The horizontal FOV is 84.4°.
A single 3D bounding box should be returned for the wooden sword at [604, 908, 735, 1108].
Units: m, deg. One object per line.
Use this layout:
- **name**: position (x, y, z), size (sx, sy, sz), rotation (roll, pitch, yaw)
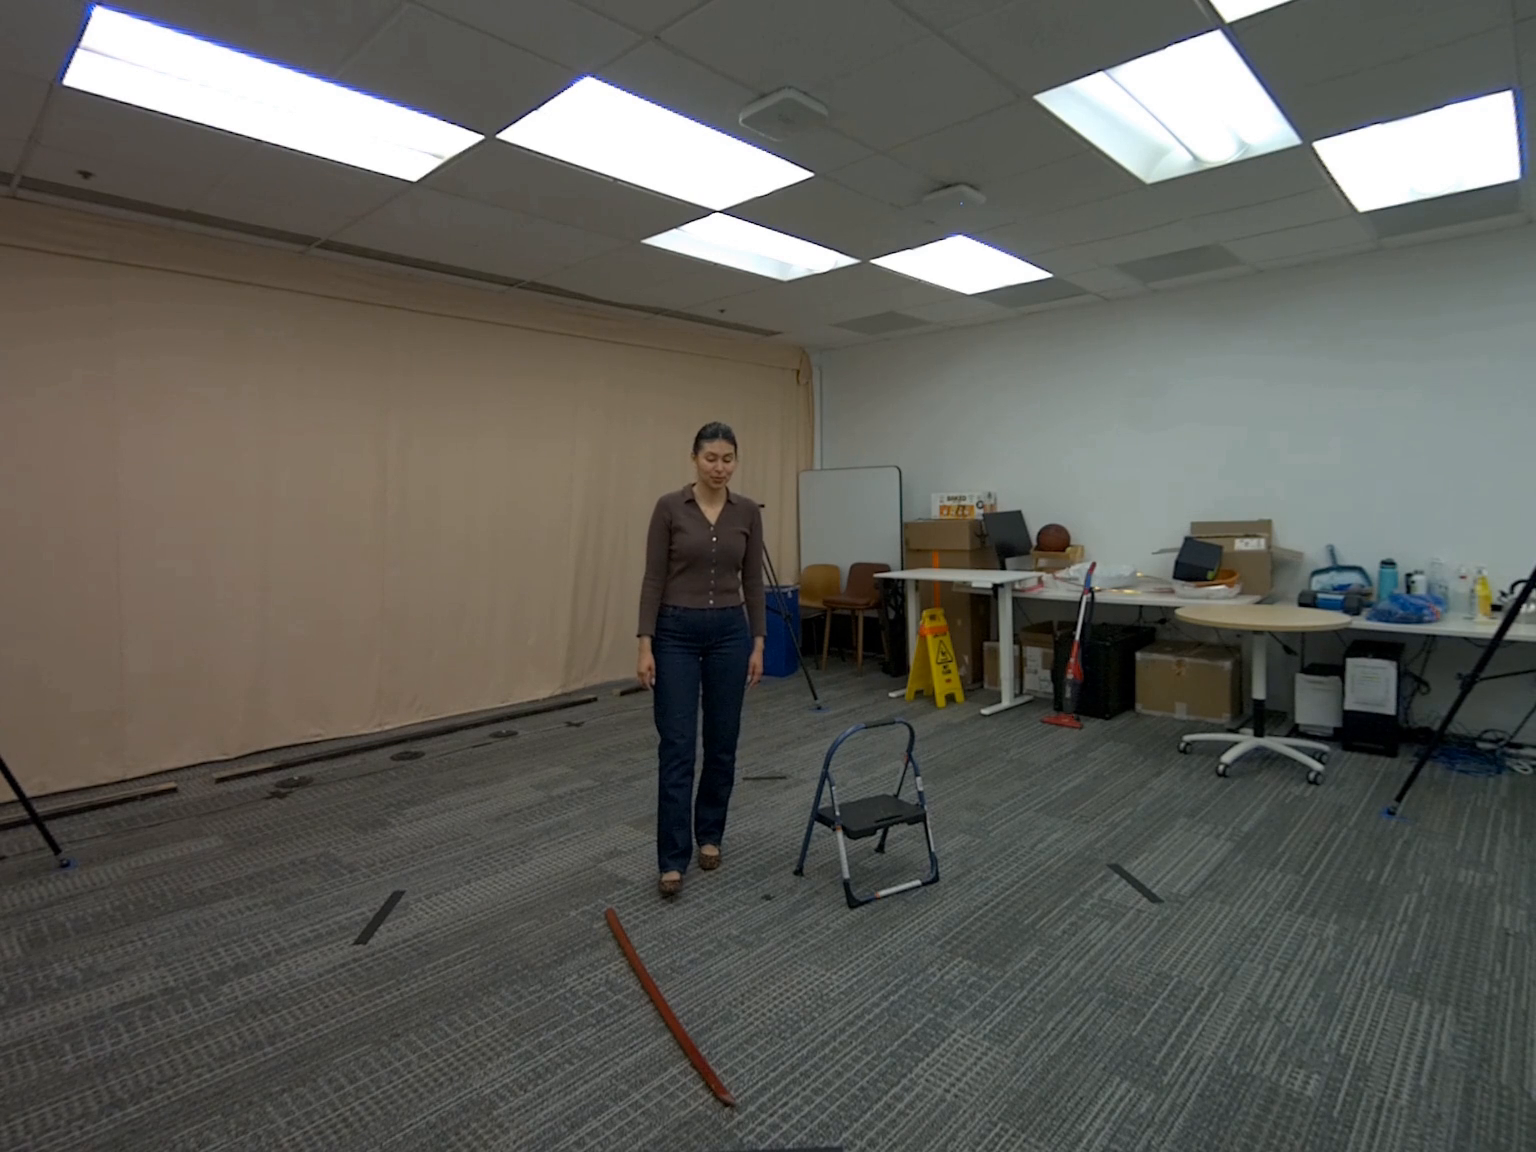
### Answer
- **wooden sword**: position (-0.316, 1.174, 2.415), size (0.050, 0.024, 1.051), rotation (-19, 12, -23)
